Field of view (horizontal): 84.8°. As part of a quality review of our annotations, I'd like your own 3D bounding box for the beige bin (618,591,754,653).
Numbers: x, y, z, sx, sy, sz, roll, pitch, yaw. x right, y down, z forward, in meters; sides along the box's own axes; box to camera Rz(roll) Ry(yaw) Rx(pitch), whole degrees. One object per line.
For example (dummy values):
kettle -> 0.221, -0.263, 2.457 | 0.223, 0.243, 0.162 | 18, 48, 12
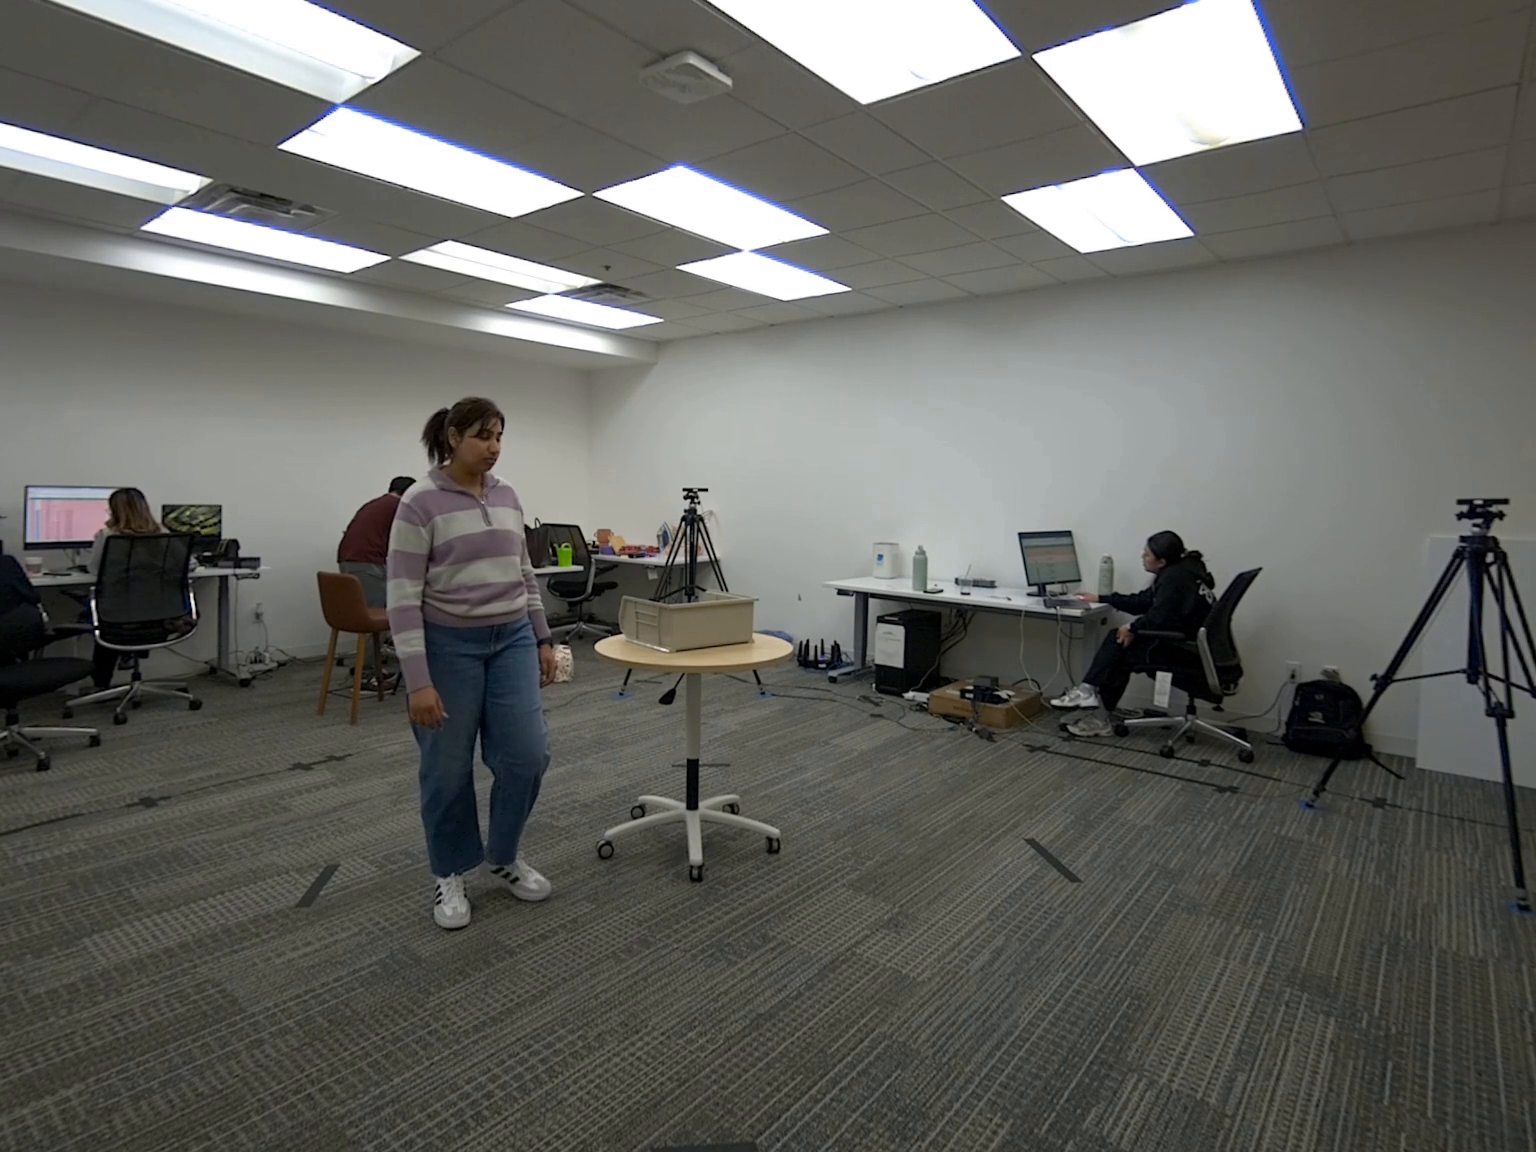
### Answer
beige bin -> -0.331, 0.169, 3.386 | 0.410, 0.188, 0.390 | -3, 8, -38
